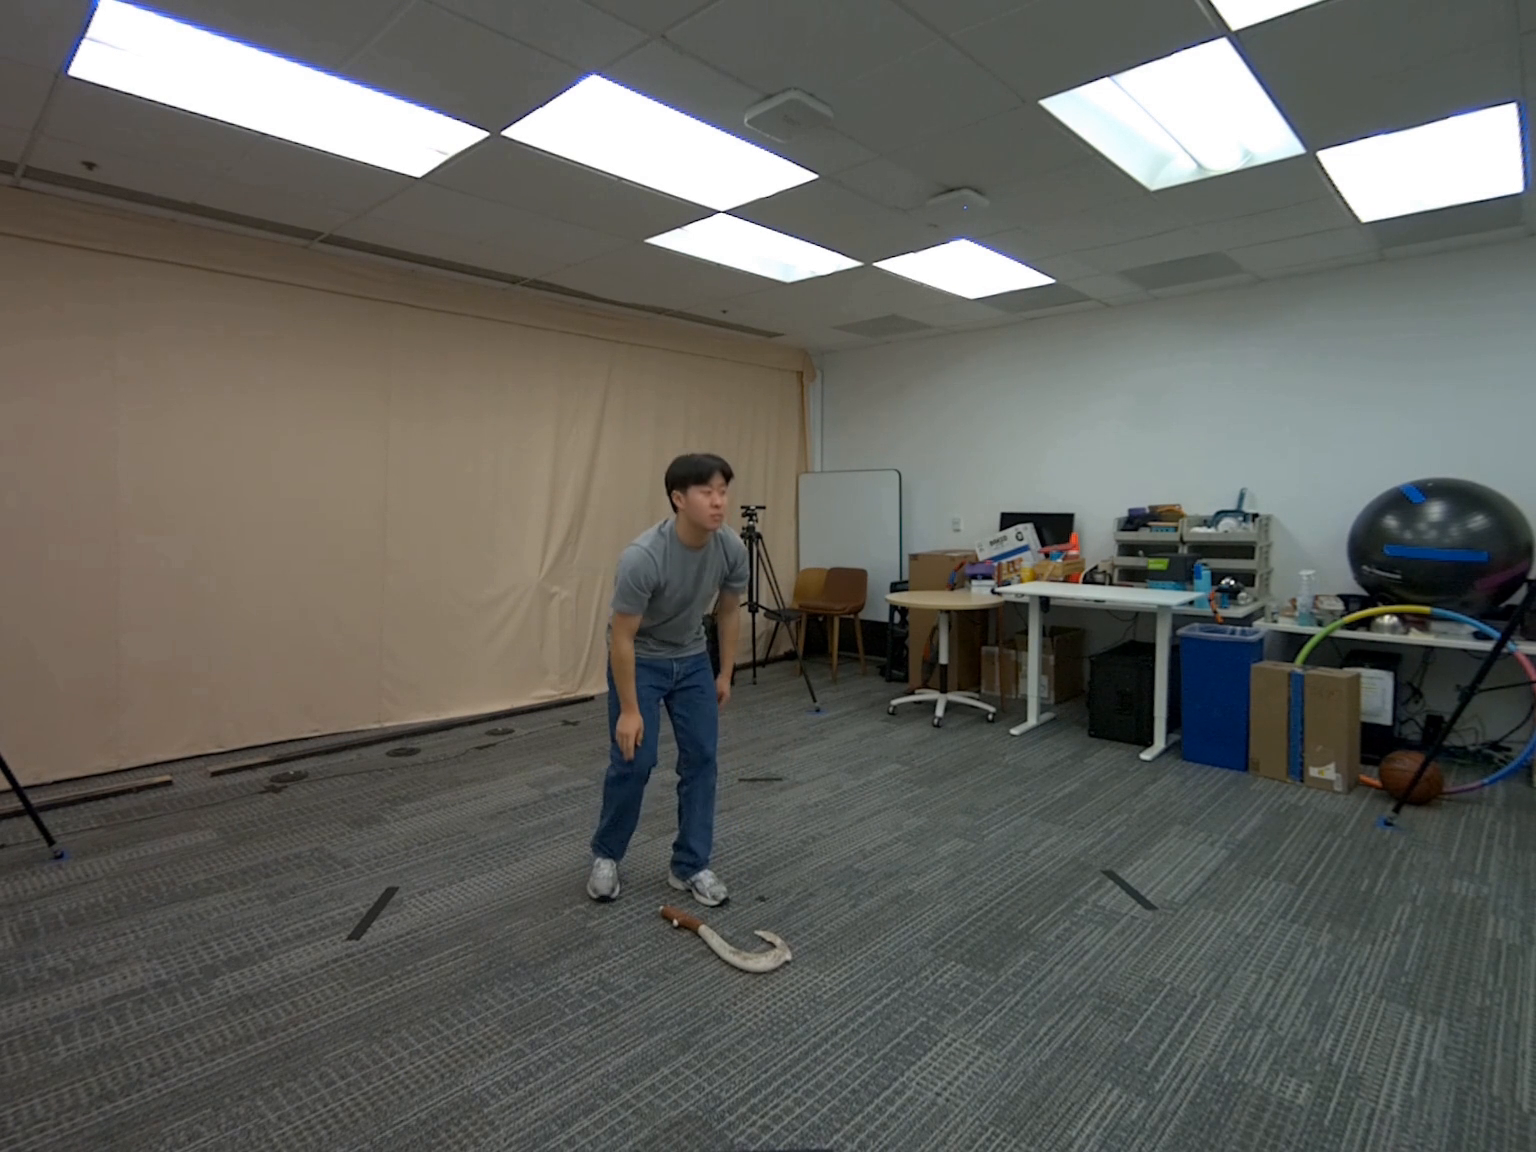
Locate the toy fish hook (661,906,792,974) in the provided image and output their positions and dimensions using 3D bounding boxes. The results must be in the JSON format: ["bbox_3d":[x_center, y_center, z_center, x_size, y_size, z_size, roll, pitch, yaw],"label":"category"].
[{"bbox_3d":[-0.140,1.154,2.710,0.524,0.048,0.217,5,-1,45],"label":"toy fish hook"}]
